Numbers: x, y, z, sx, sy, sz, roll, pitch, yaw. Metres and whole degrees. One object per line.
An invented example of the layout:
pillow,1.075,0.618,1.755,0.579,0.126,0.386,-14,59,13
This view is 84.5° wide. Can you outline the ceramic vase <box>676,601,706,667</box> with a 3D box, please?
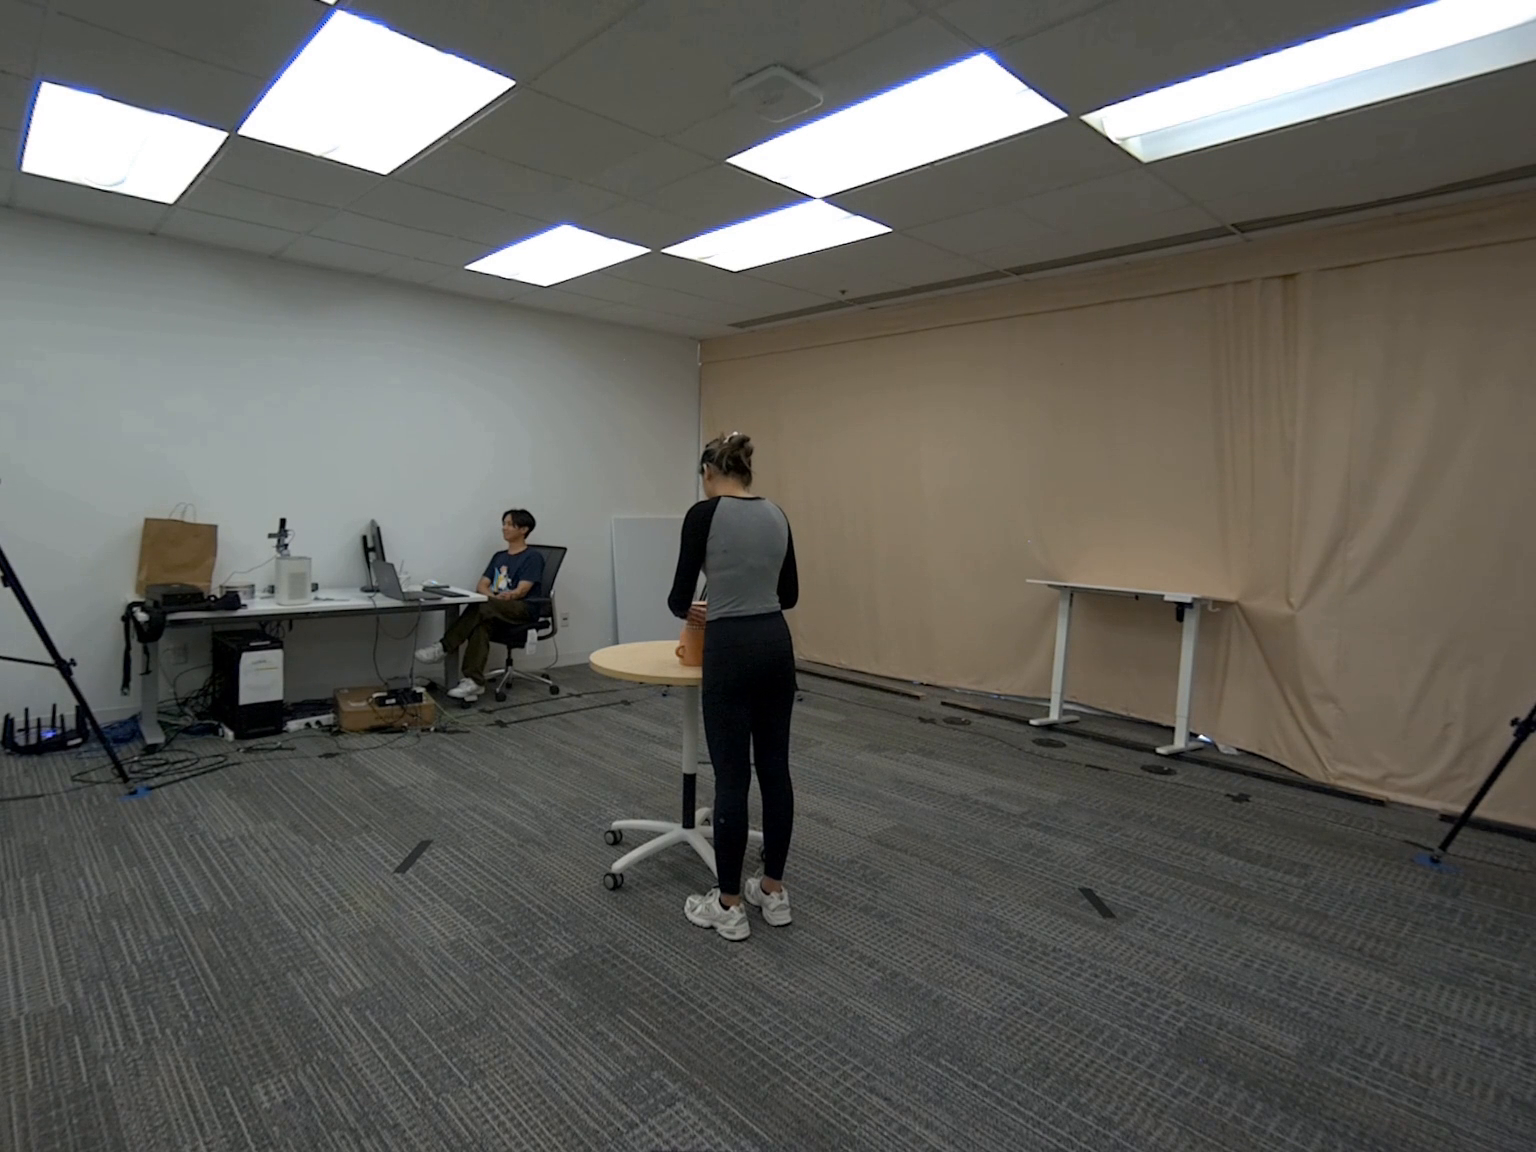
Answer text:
ceramic vase,-0.257,0.204,3.035,0.135,0.219,0.158,2,4,6
